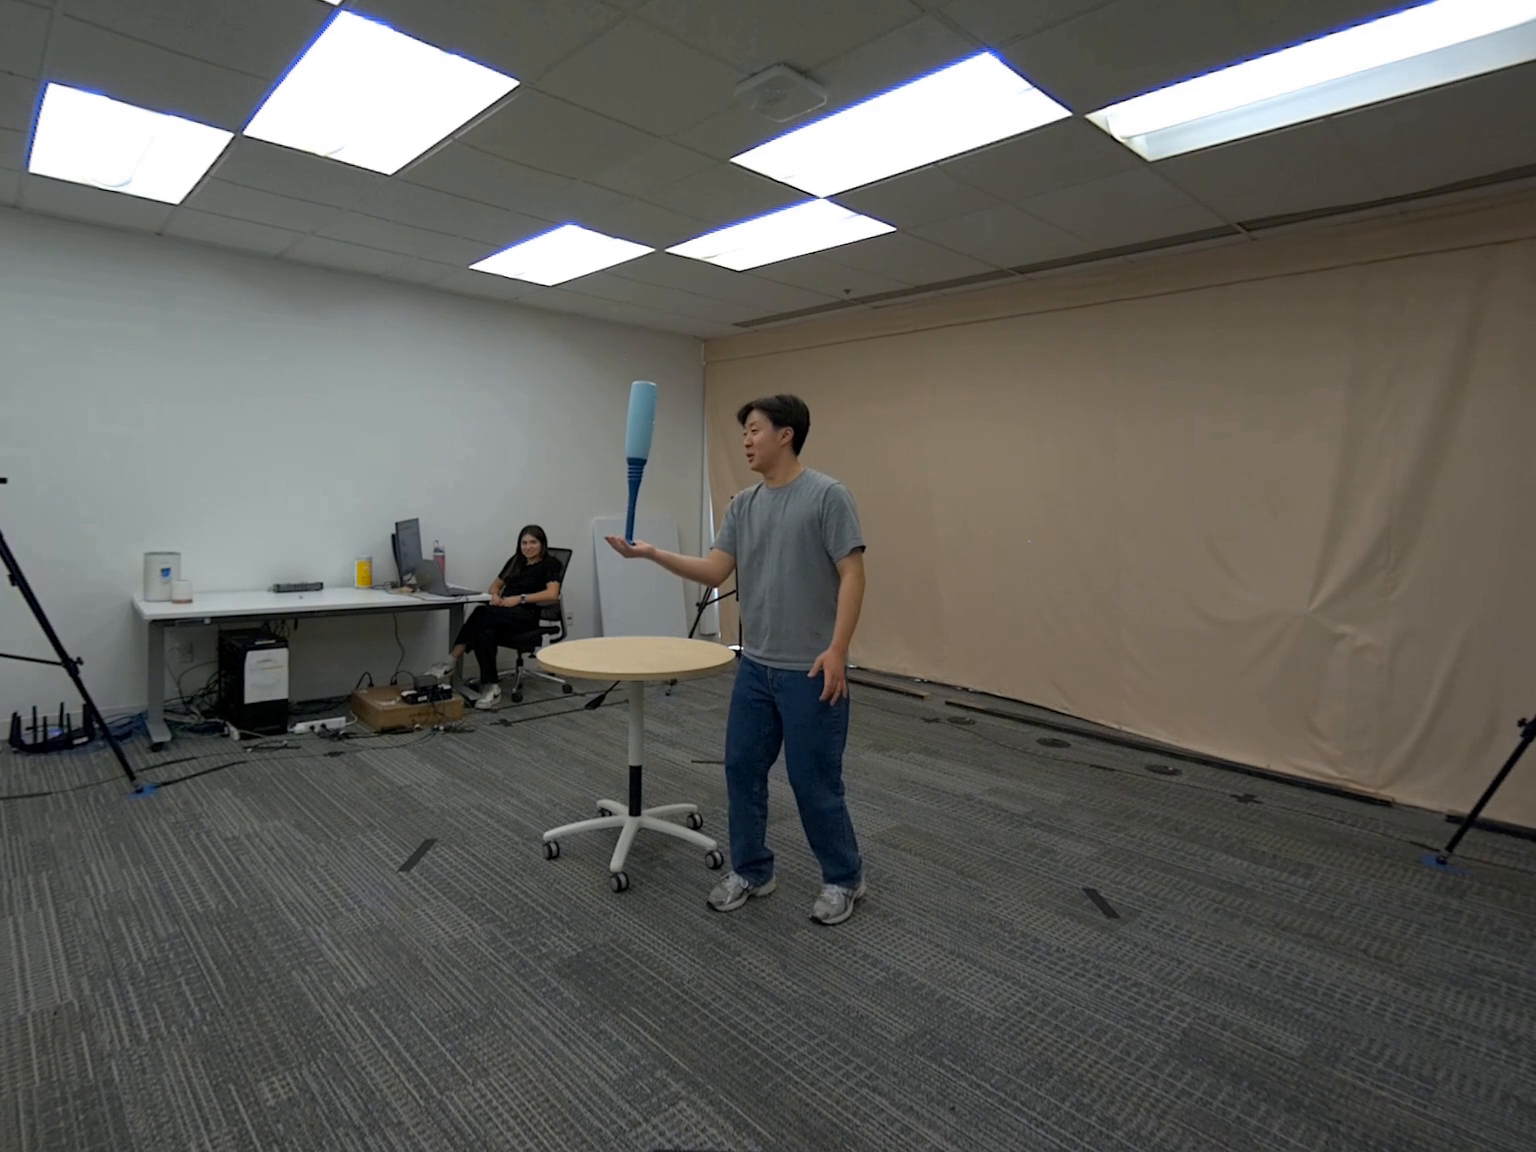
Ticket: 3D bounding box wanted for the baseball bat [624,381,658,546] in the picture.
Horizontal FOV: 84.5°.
[{"bbox_3d":[-0.427,-0.359,2.729,0.089,0.543,0.089,6,-1,-1],"label":"baseball bat"}]
